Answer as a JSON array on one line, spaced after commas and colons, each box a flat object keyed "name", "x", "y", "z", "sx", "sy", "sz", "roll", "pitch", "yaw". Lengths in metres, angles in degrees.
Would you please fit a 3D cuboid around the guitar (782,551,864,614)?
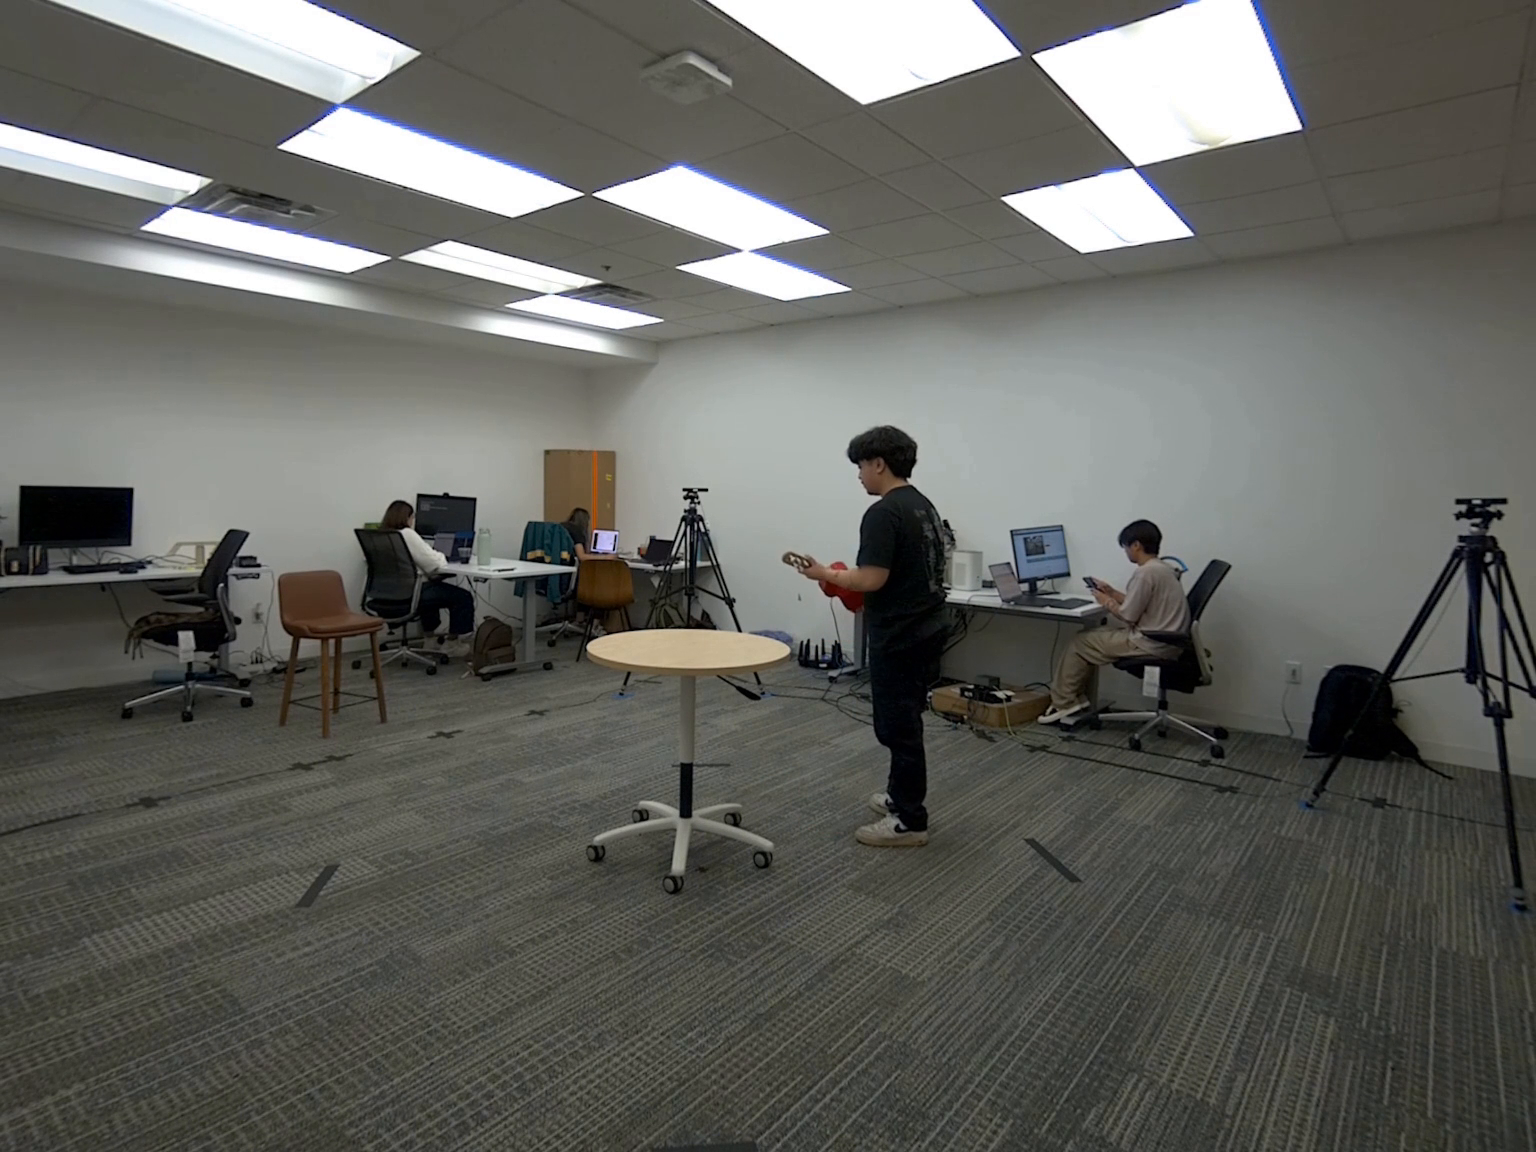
[{"name": "guitar", "x": 0.233, "y": 0.018, "z": 3.575, "sx": 0.482, "sy": 0.191, "sz": 0.073, "roll": 13, "pitch": 29, "yaw": -31}]
